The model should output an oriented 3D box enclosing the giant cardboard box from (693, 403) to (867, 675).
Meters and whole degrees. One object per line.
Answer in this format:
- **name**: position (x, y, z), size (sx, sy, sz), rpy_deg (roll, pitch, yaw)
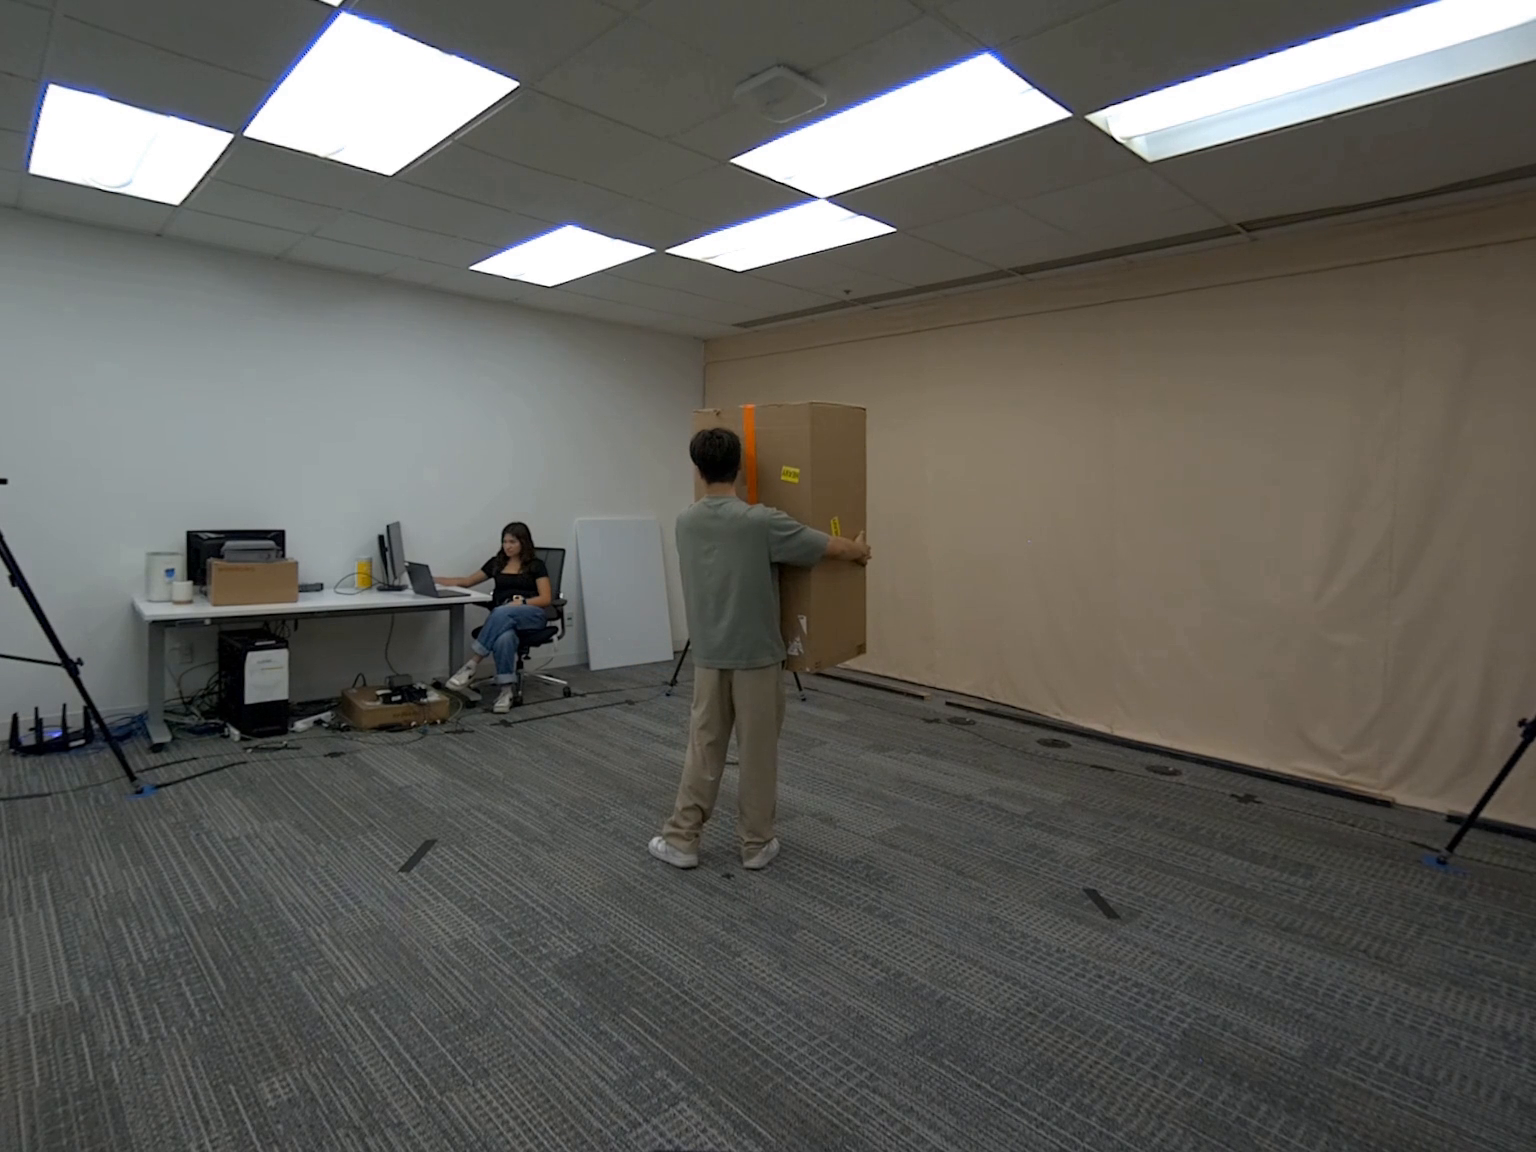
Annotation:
- **giant cardboard box**: position (0.044, -0.177, 3.468), size (0.592, 1.021, 0.417), rpy_deg (4, 7, 37)
